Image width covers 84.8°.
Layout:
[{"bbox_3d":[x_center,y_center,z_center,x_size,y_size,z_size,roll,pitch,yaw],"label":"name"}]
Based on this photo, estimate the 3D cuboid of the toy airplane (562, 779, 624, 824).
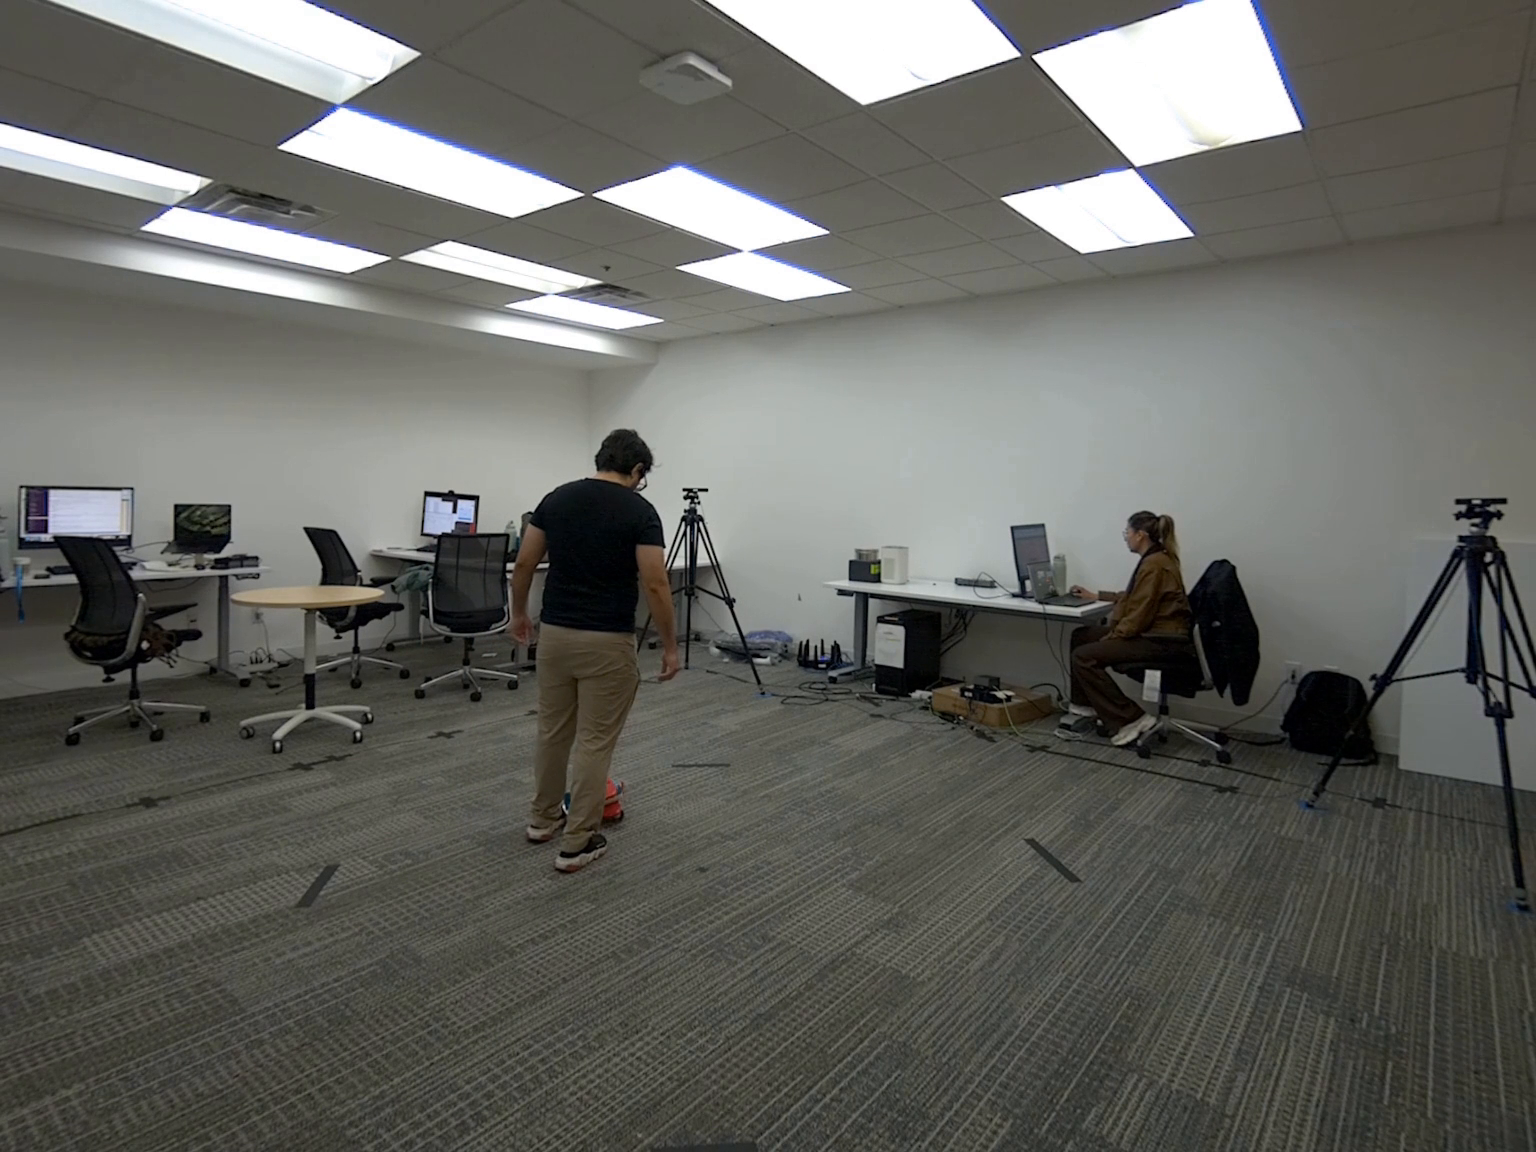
[{"bbox_3d":[-0.730,0.945,3.539,0.259,0.156,0.251,3,4,38],"label":"toy airplane"}]
